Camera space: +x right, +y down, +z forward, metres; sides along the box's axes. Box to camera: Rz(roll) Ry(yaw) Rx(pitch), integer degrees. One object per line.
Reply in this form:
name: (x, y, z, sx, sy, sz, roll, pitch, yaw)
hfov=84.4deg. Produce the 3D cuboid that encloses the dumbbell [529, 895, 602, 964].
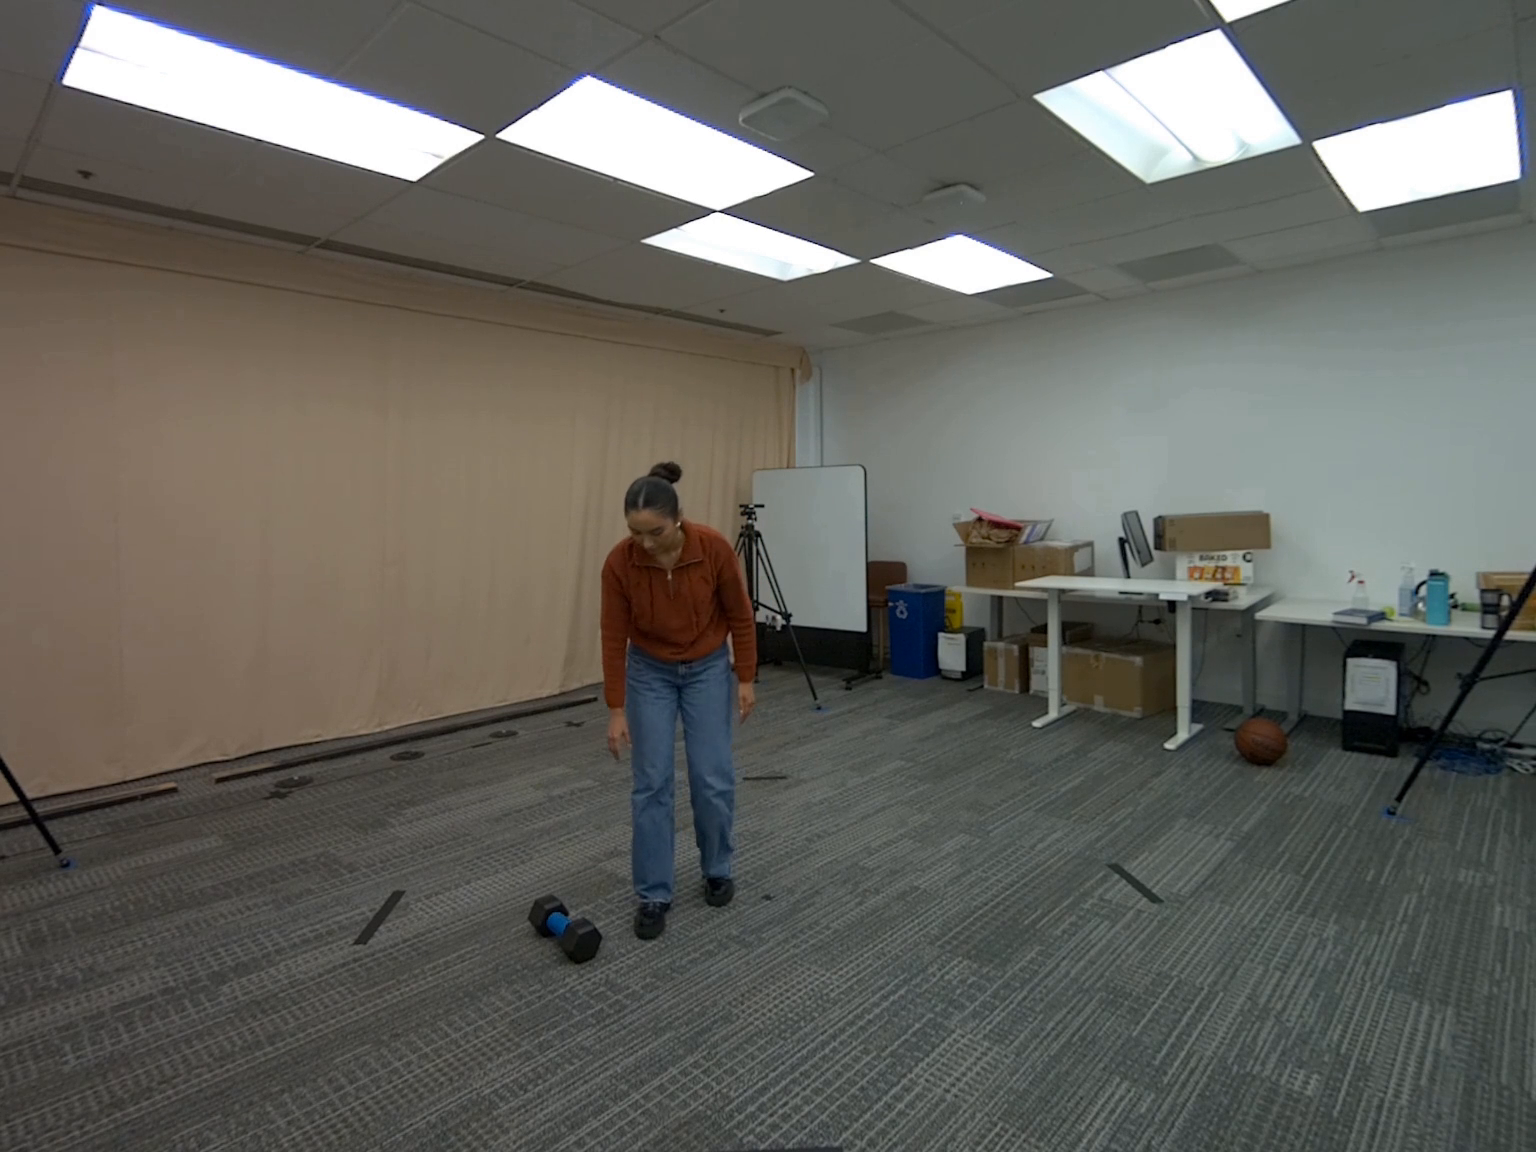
dumbbell: (-0.652, 1.127, 2.688, 0.303, 0.123, 0.105, 4, -25, 48)
